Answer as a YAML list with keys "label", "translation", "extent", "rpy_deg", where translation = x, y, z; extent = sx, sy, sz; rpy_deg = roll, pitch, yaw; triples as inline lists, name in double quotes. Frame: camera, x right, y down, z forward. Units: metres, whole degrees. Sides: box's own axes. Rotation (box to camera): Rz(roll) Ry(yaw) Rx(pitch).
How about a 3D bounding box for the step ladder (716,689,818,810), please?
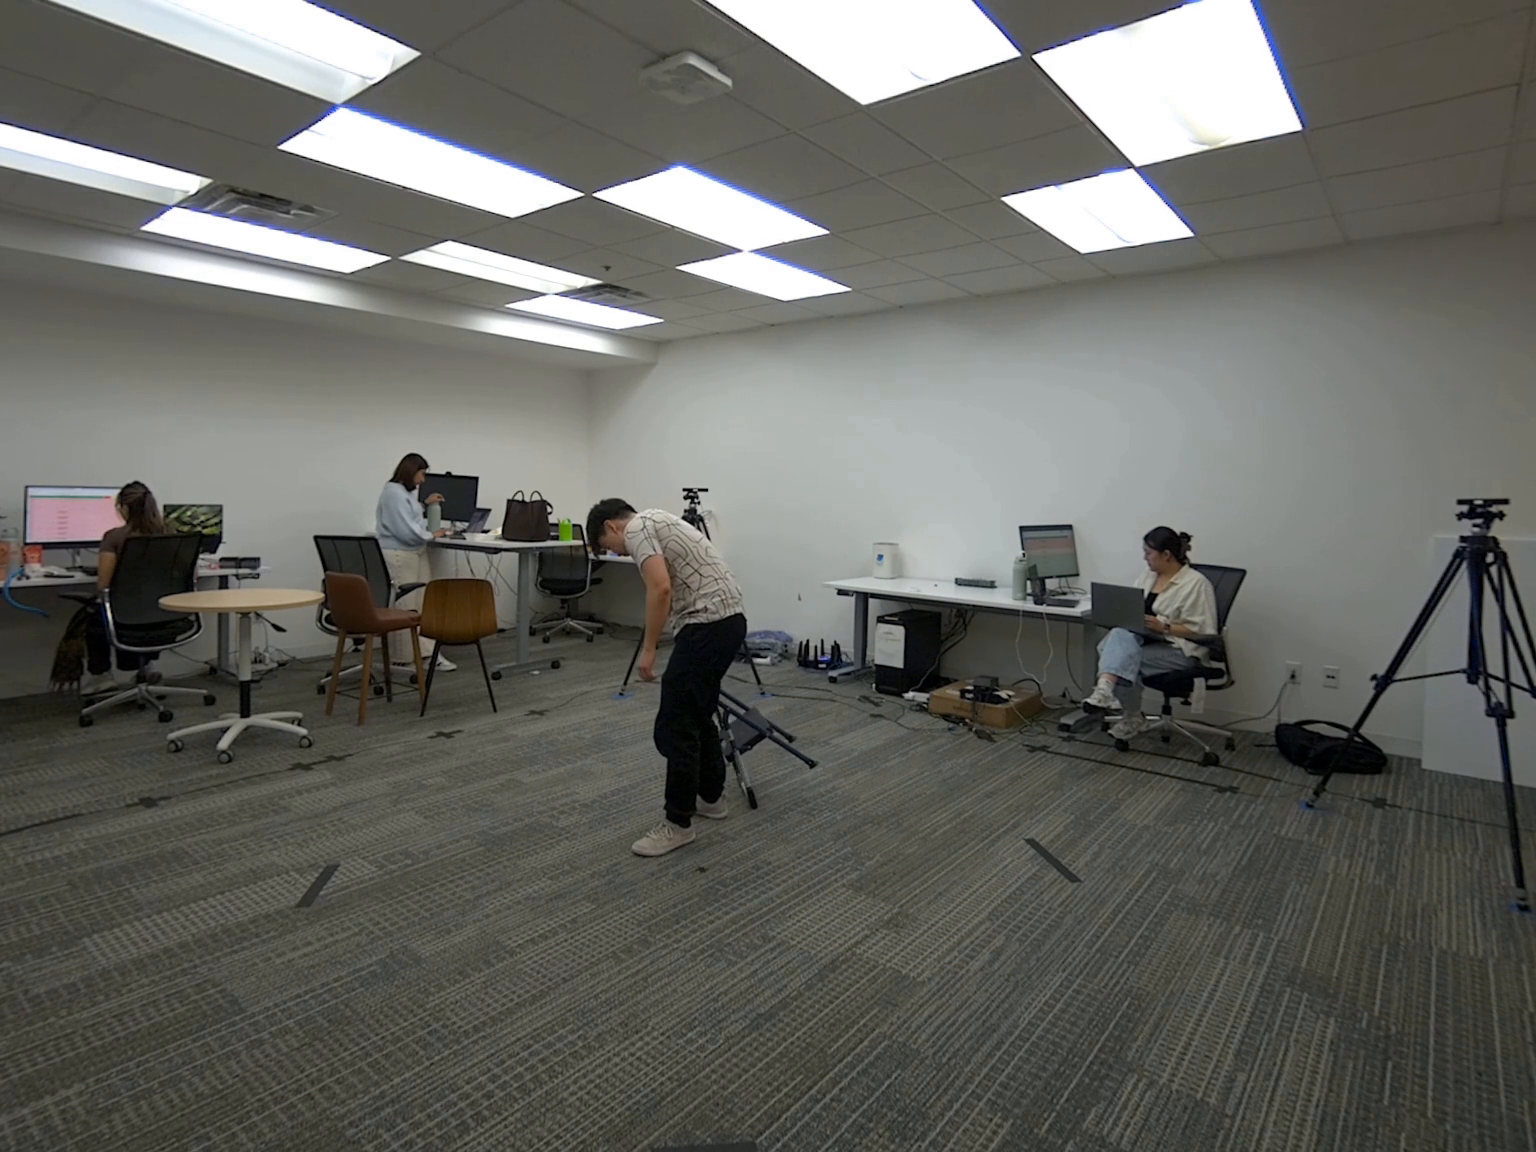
- label: "step ladder"
  translation: [-0.134, 0.658, 3.893]
  extent: [0.348, 0.600, 0.436]
  rpy_deg: [-35, 8, -6]
